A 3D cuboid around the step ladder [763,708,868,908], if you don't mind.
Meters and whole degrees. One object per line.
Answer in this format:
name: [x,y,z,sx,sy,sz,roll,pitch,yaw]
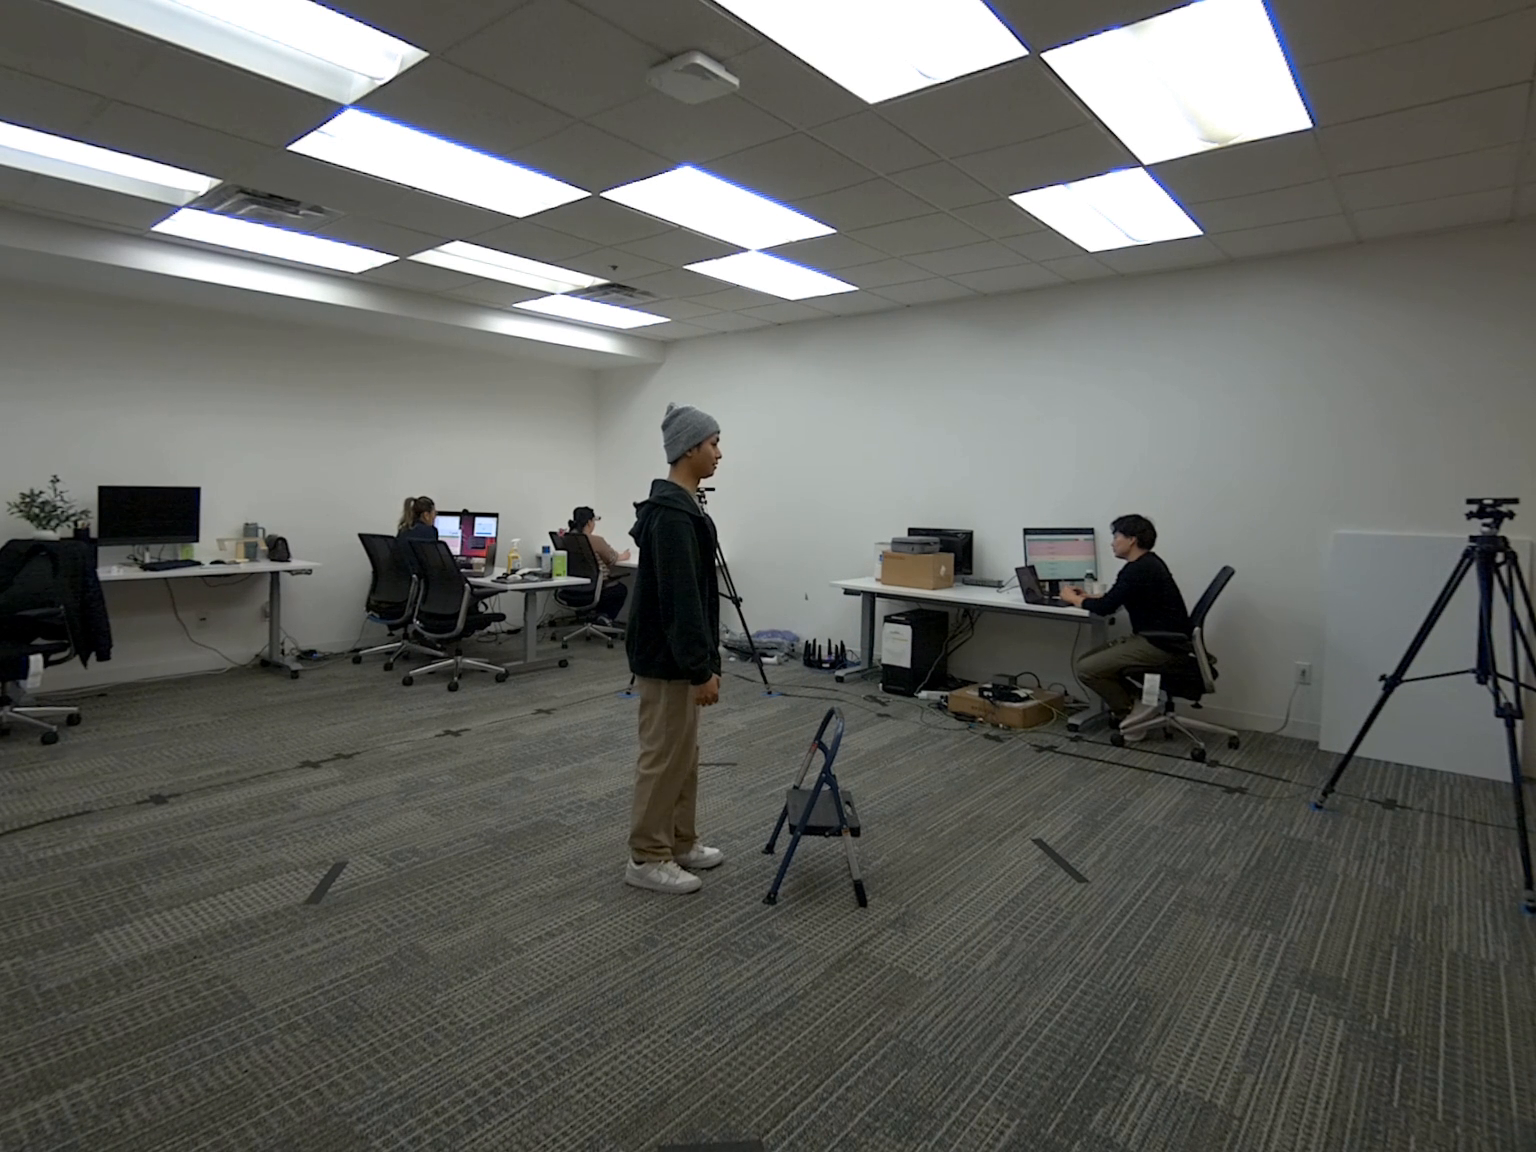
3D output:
step ladder: [0.161,0.783,3.034,0.350,0.604,0.432,1,4,0]
